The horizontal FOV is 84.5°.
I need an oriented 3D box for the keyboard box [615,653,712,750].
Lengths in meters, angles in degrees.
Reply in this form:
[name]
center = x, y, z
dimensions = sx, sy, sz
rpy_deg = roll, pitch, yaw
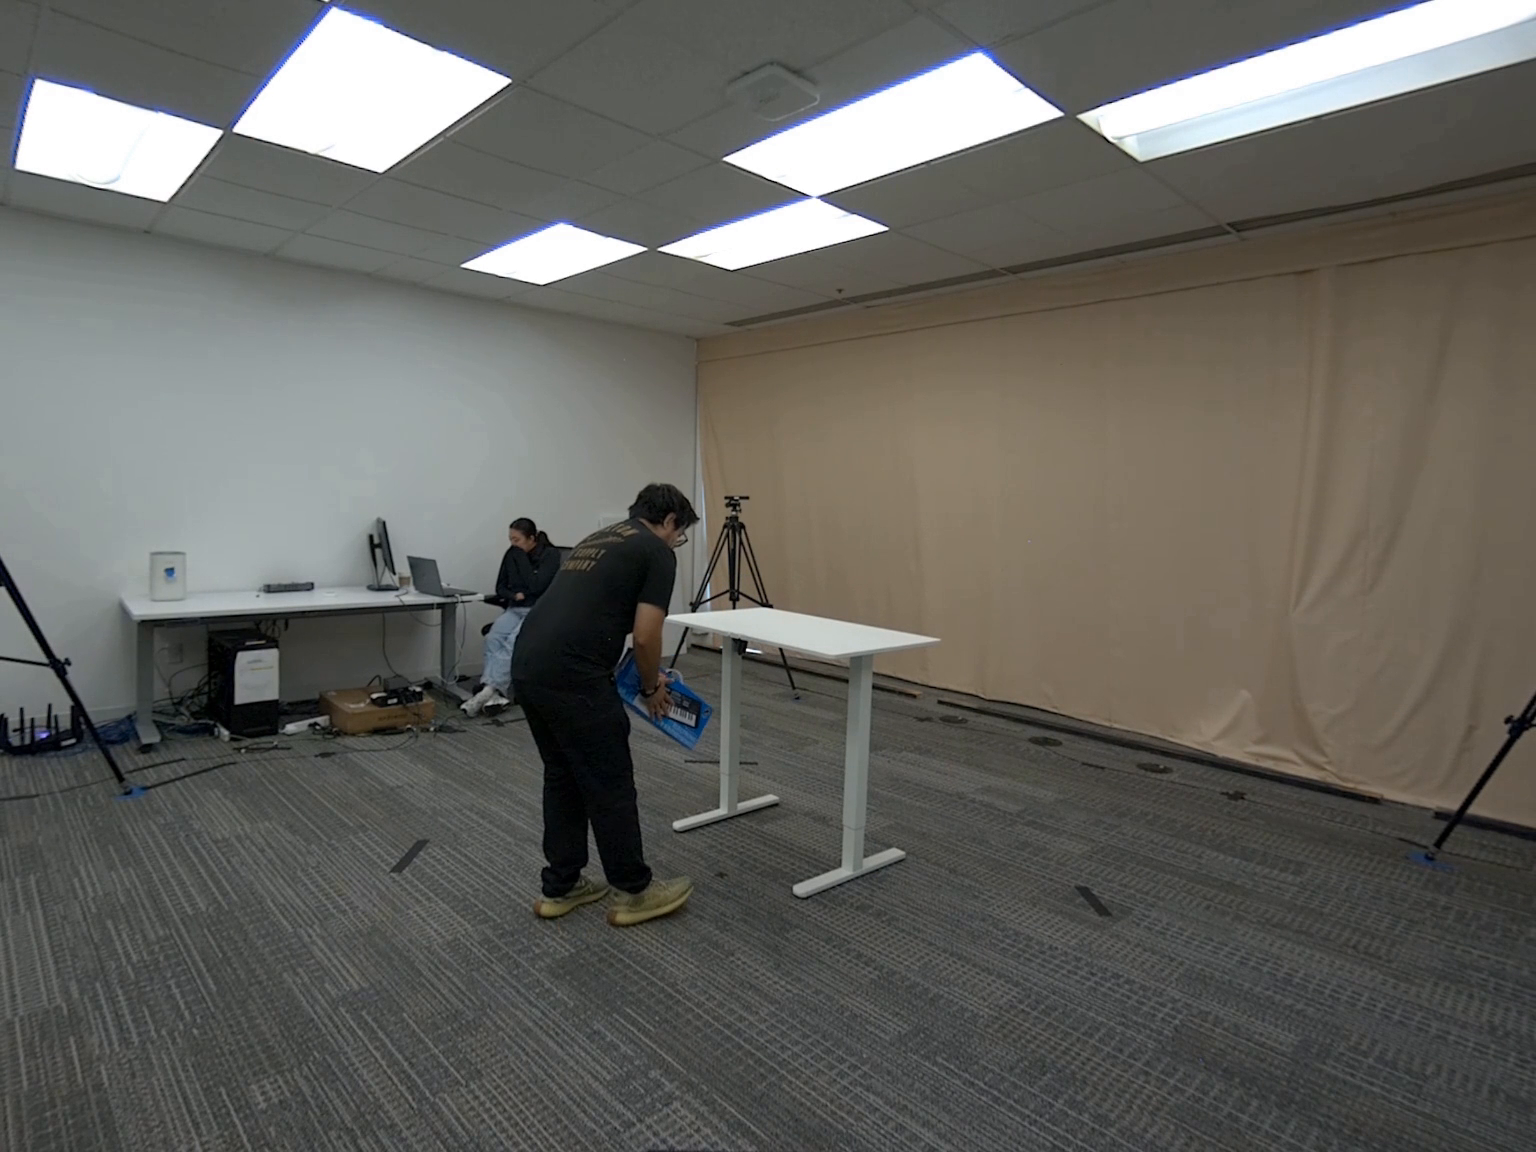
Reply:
[keyboard box]
center = -0.386, 0.450, 3.014
dimensions = 0.060, 0.177, 0.424
rpy_deg = 3, -33, 48
